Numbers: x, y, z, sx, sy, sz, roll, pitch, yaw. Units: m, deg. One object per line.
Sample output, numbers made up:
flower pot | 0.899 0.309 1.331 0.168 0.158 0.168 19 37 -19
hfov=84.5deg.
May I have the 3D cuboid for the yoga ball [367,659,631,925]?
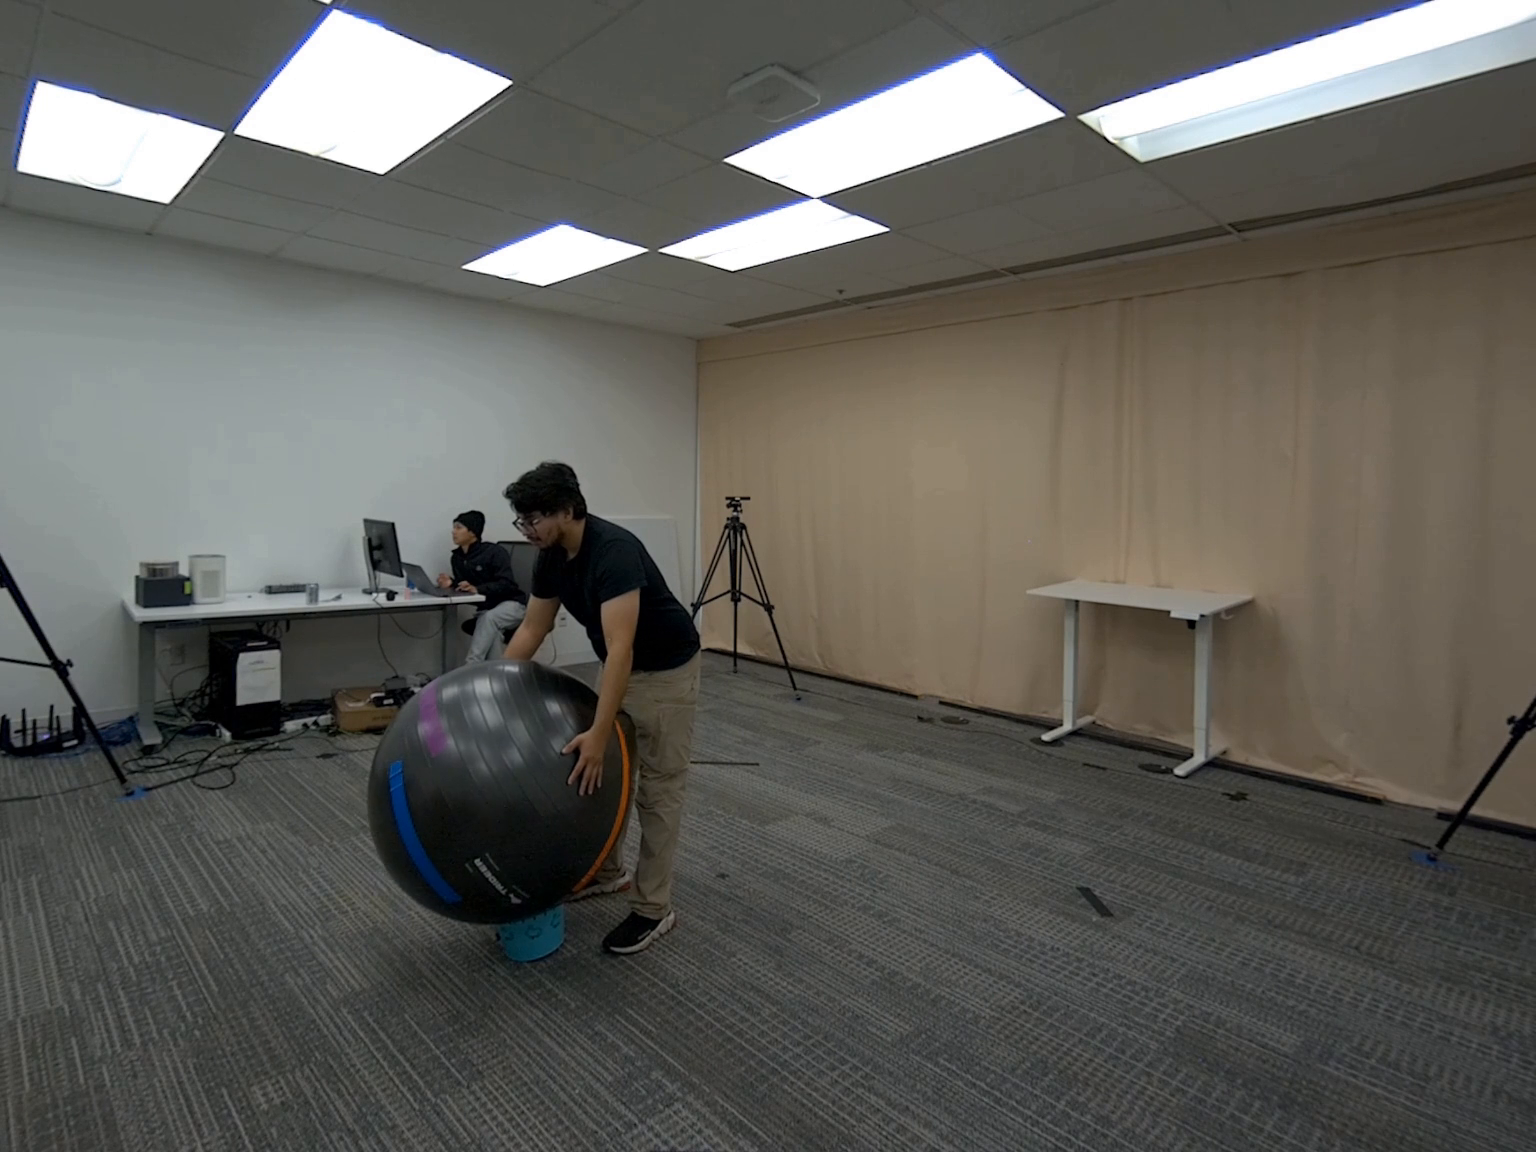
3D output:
yoga ball | -0.799 0.637 2.511 0.757 0.756 0.761 1 4 -1
